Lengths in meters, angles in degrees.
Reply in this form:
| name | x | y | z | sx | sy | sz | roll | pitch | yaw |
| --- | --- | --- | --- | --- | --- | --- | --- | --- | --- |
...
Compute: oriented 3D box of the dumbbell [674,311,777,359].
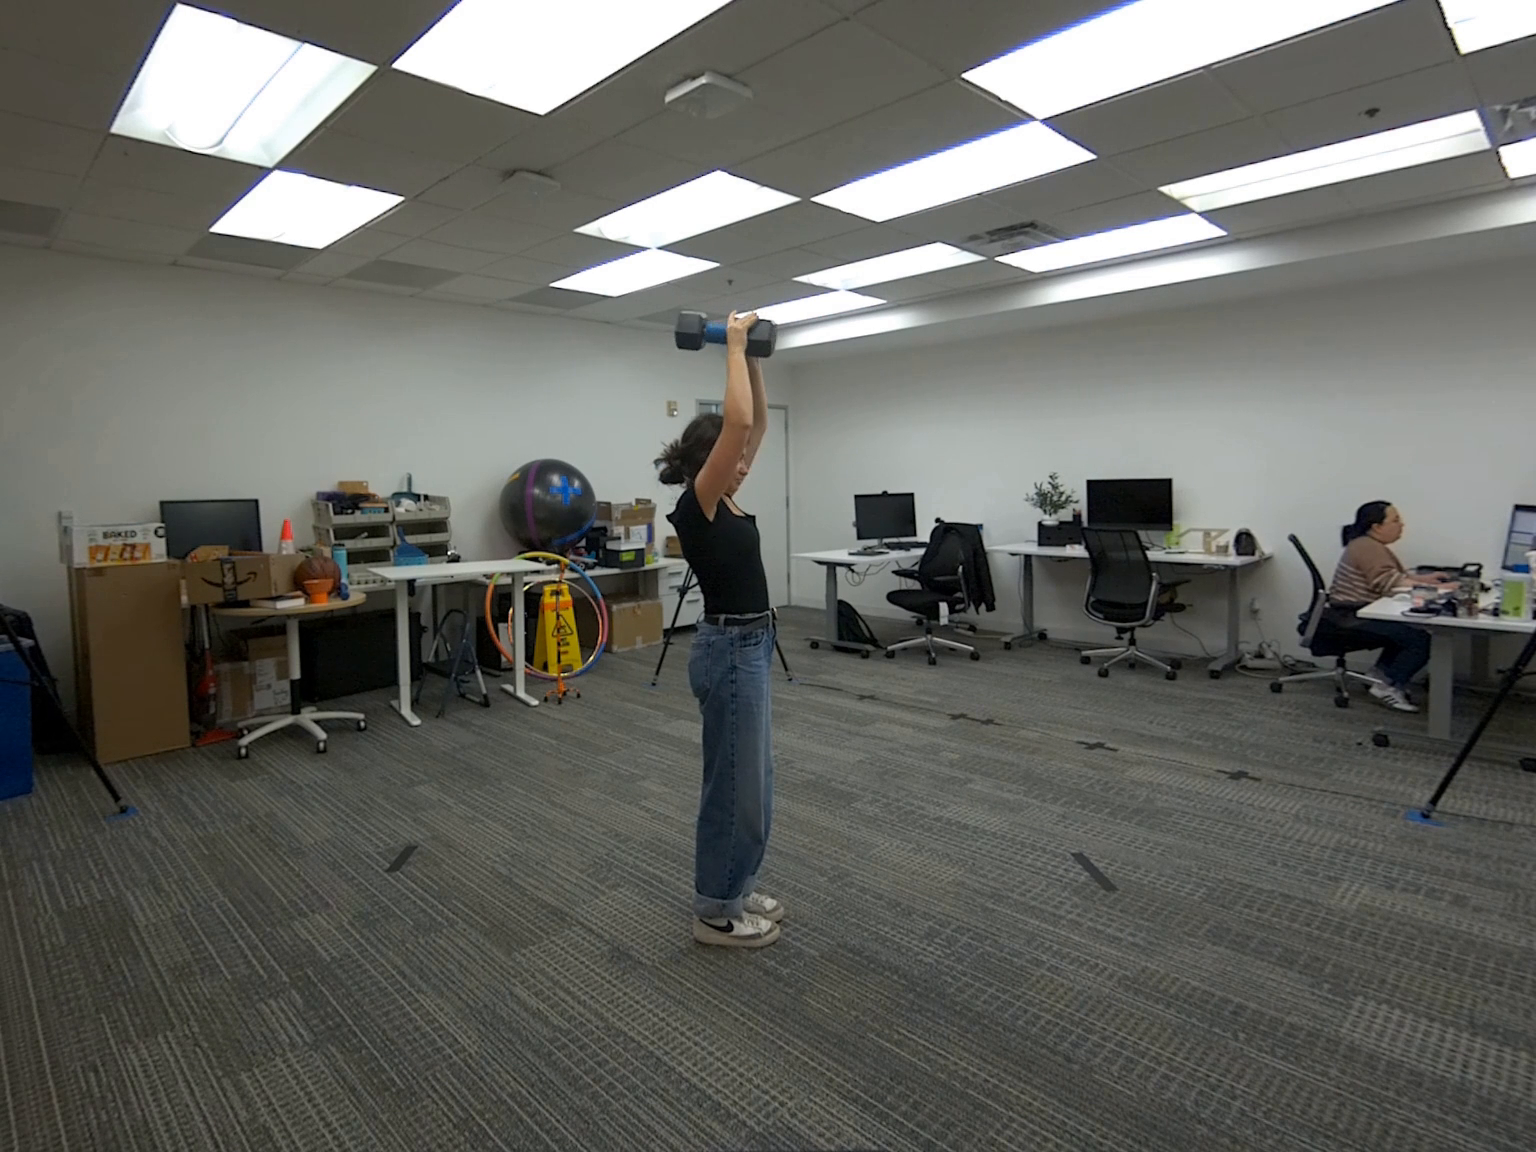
| name | x | y | z | sx | sy | sz | roll | pitch | yaw |
| --- | --- | --- | --- | --- | --- | --- | --- | --- | --- |
| dumbbell | -0.122 | -0.712 | 2.529 | 0.296 | 0.124 | 0.107 | 9 | -9 | 8 |
